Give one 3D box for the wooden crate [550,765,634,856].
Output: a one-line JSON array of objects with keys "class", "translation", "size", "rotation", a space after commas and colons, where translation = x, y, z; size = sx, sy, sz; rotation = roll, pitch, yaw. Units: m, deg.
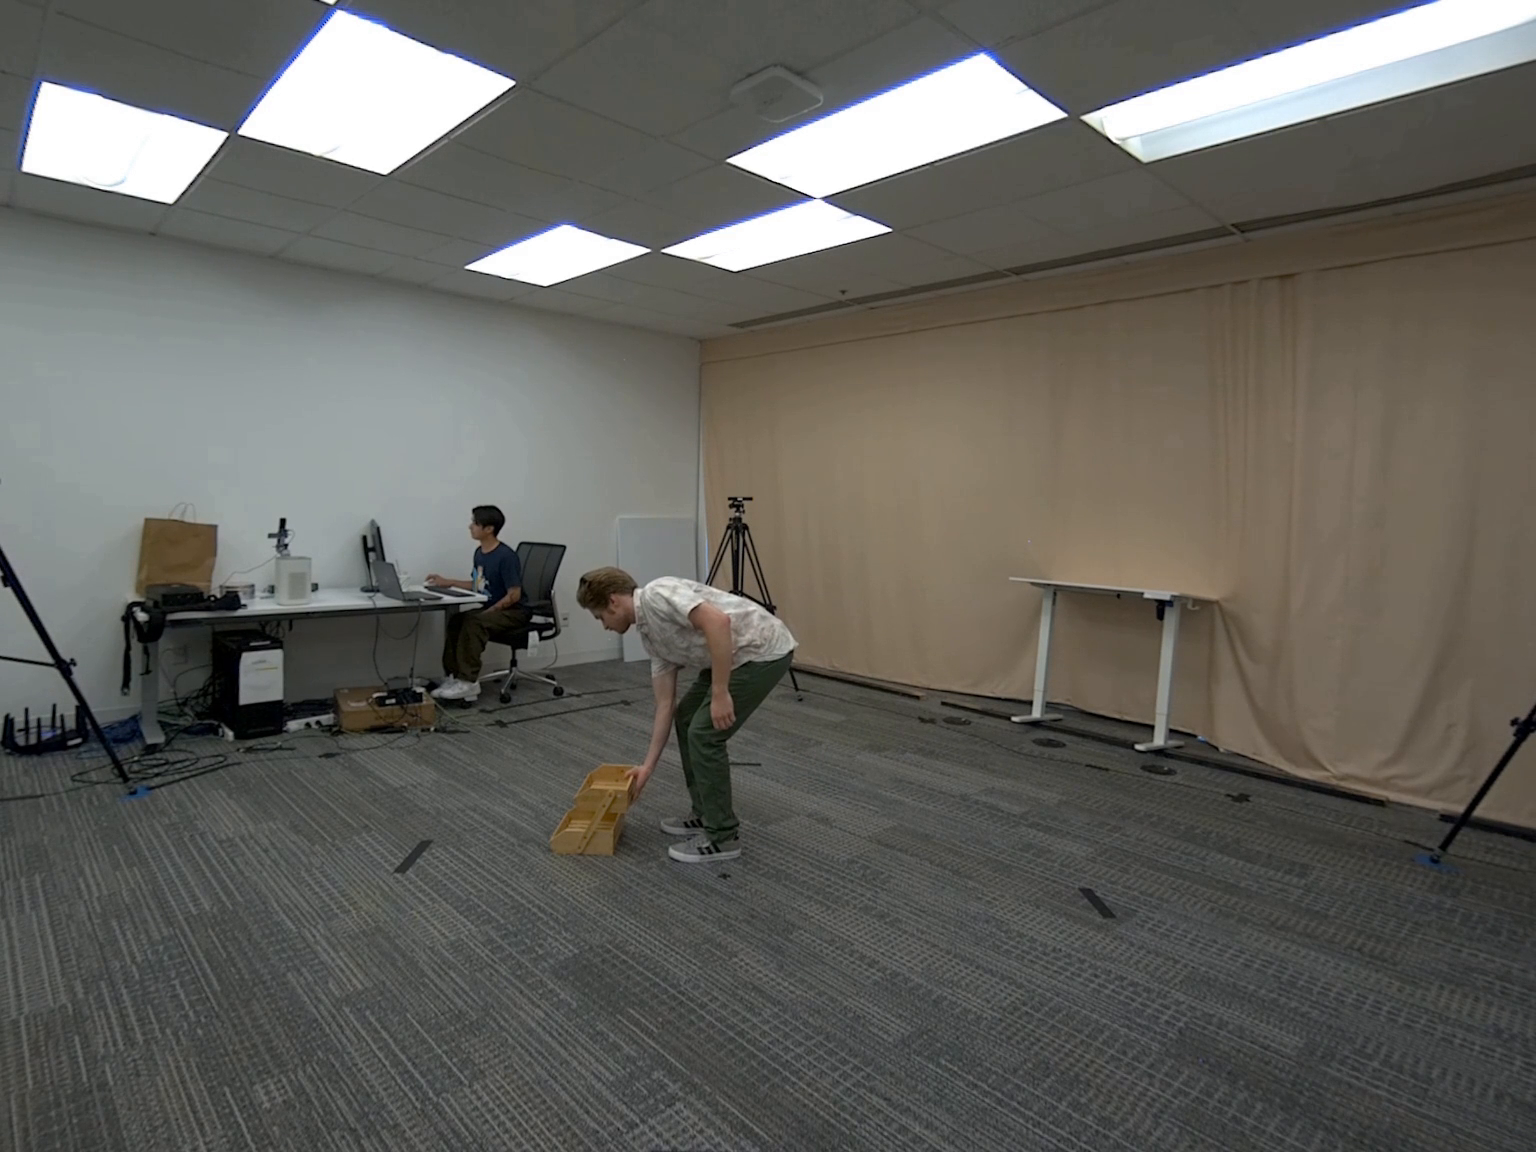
[{"class": "wooden crate", "translation": [-0.707, 0.932, 3.411], "size": [0.302, 0.272, 0.325], "rotation": [2, 4, -1]}]
